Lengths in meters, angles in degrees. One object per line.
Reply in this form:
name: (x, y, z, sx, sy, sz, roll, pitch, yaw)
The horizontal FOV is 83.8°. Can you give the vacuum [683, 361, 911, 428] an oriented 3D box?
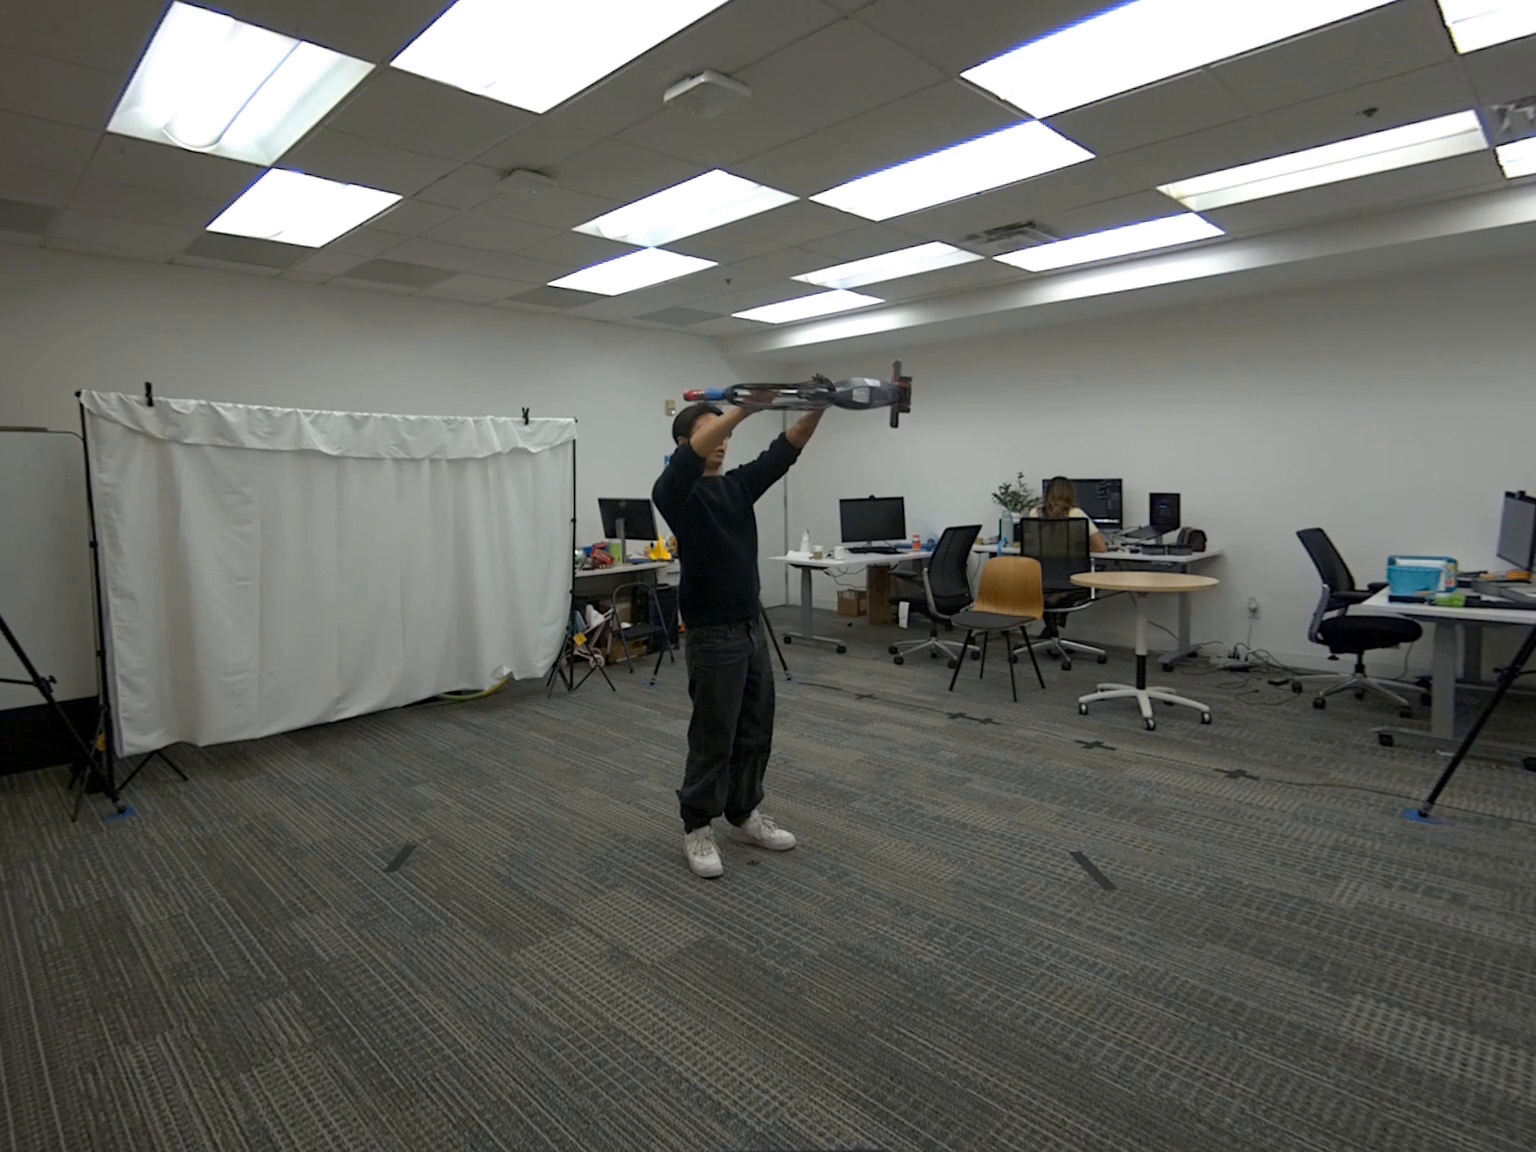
vacuum: (0.124, -0.597, 2.835, 1.025, 0.250, 0.149, -12, 19, -42)
